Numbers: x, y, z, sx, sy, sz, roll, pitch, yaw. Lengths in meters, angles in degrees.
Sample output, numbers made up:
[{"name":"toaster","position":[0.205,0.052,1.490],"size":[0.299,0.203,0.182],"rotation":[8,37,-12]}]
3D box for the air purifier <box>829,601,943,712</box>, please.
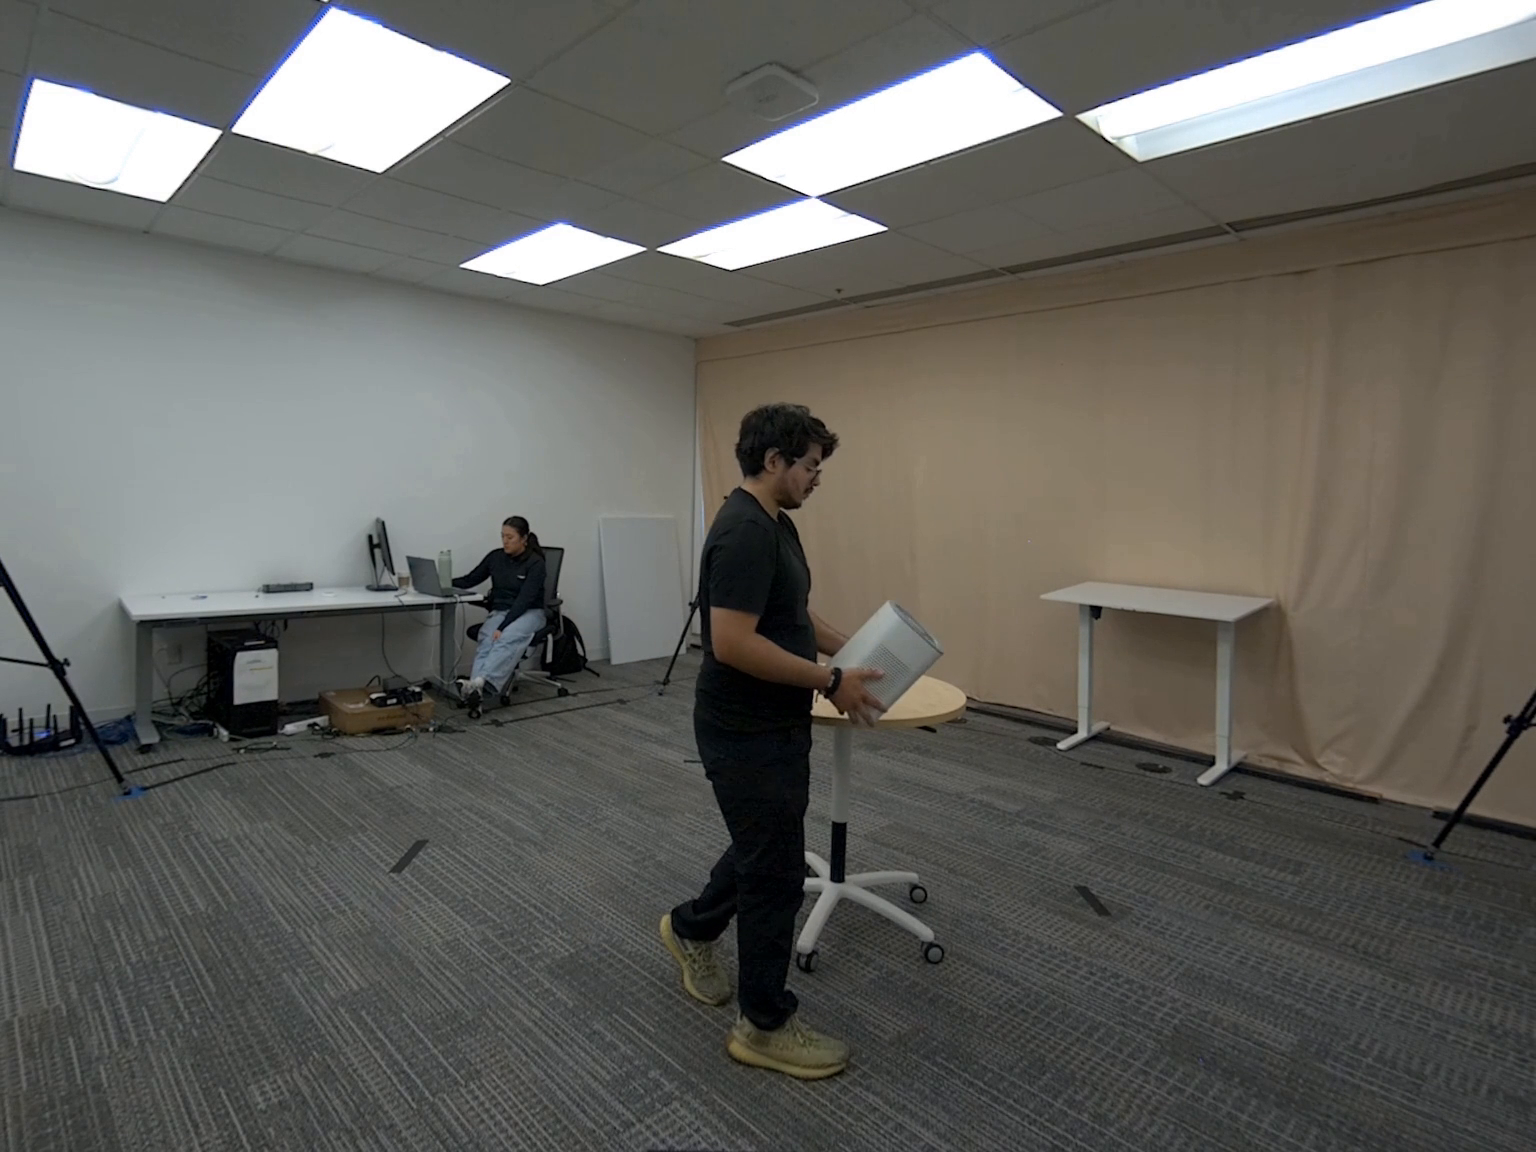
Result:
[{"name":"air purifier","position":[0.265,0.214,2.052],"size":[0.174,0.262,0.168],"rotation":[42,13,-1]}]
